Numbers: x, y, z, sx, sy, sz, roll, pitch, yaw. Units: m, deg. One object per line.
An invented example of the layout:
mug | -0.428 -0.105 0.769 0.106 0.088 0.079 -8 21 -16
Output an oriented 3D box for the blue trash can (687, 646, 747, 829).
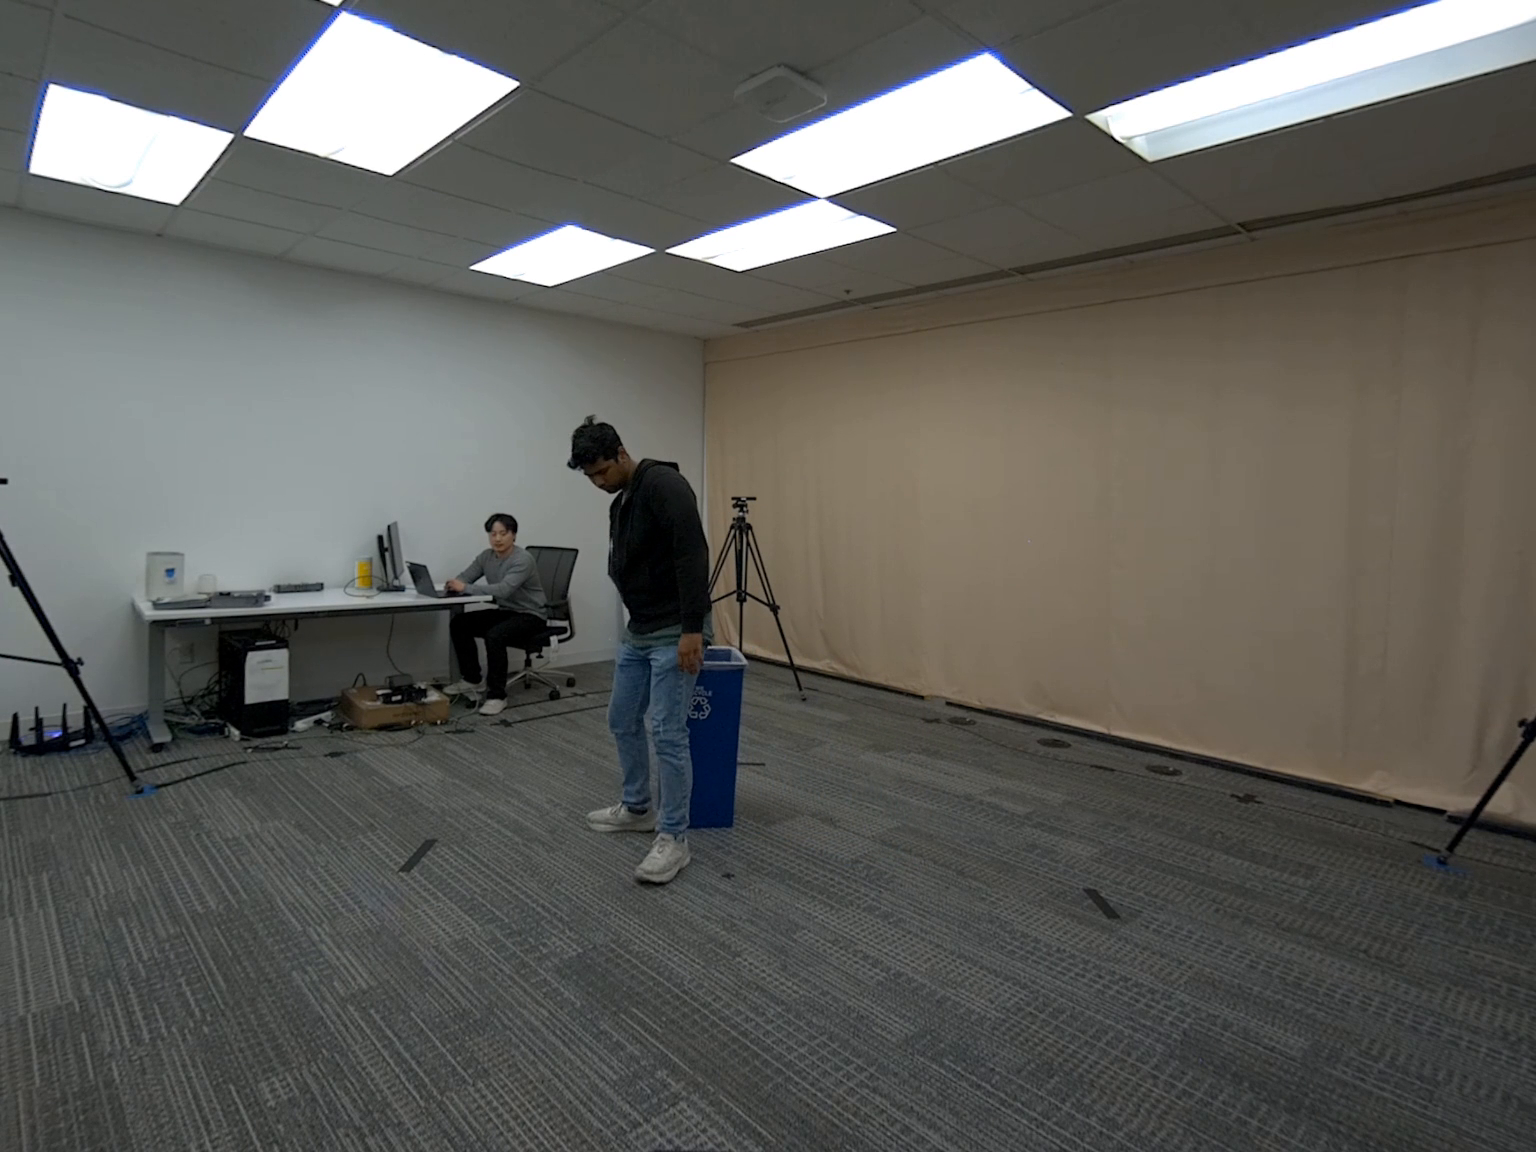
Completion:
blue trash can | -0.315 0.693 3.671 0.375 0.712 0.378 2 3 -11
